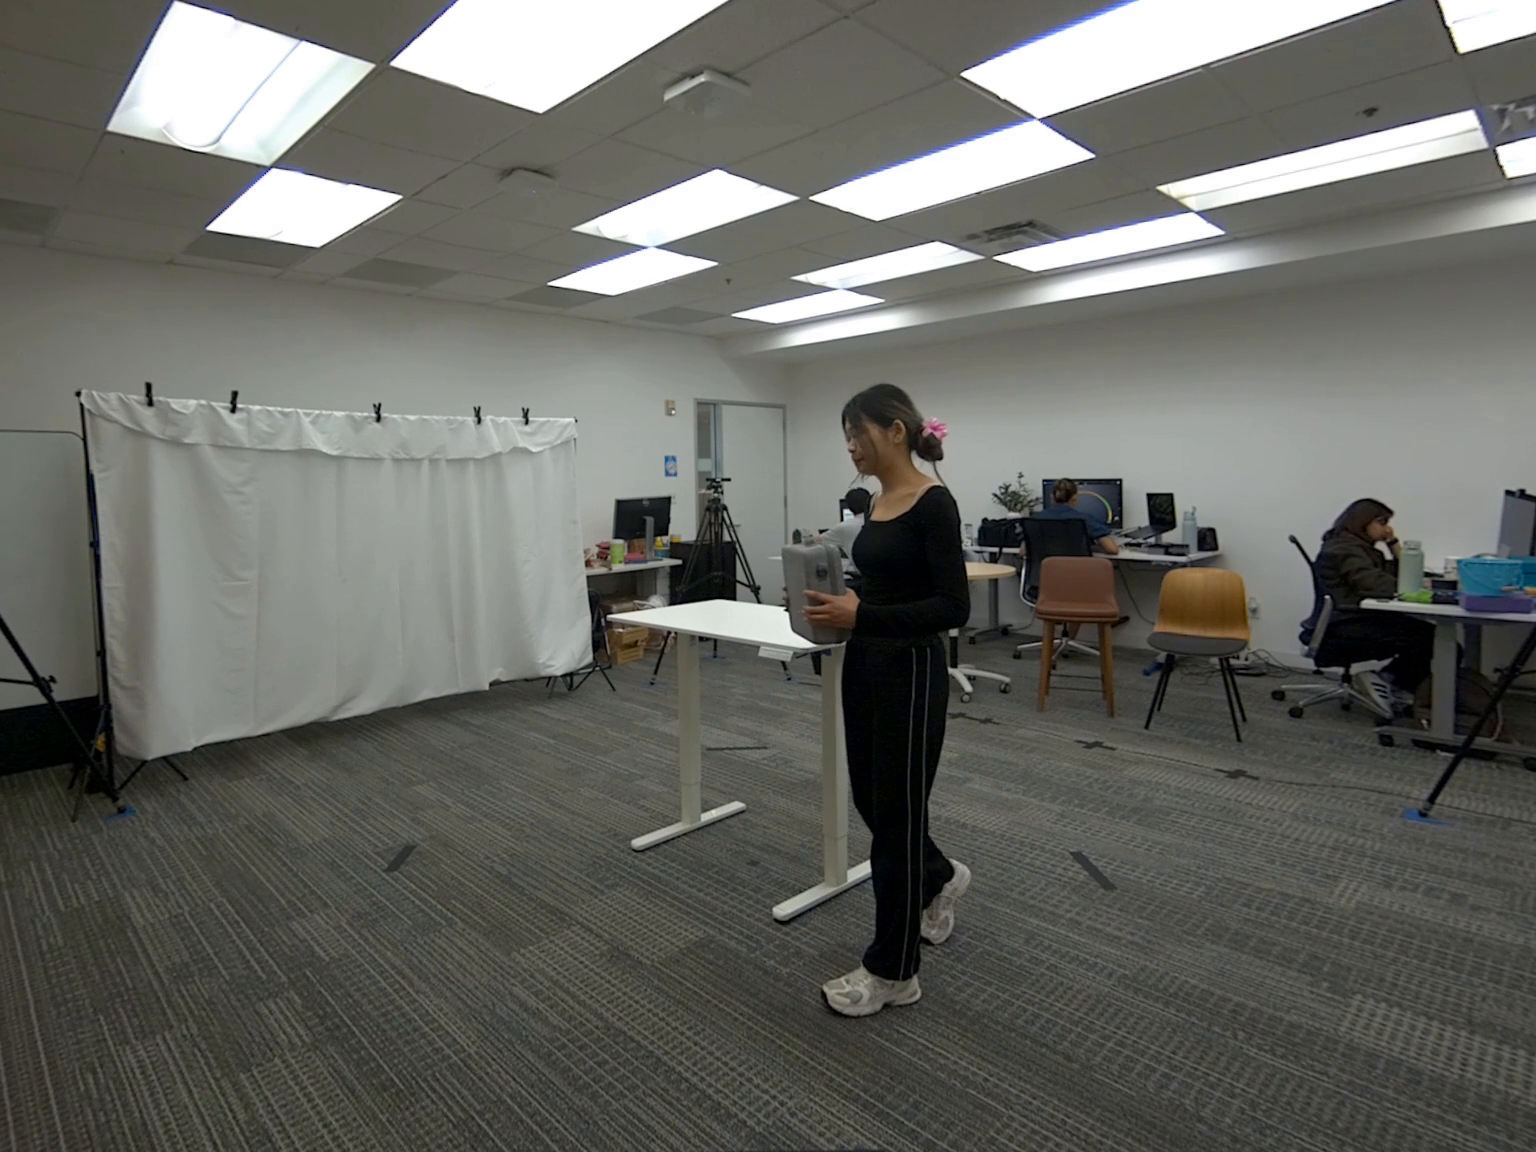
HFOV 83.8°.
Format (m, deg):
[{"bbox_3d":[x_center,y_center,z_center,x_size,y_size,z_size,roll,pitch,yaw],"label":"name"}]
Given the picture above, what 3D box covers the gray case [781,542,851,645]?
[{"bbox_3d":[0.137,0.037,2.216,0.103,0.260,0.260,-9,4,-11],"label":"gray case"}]
